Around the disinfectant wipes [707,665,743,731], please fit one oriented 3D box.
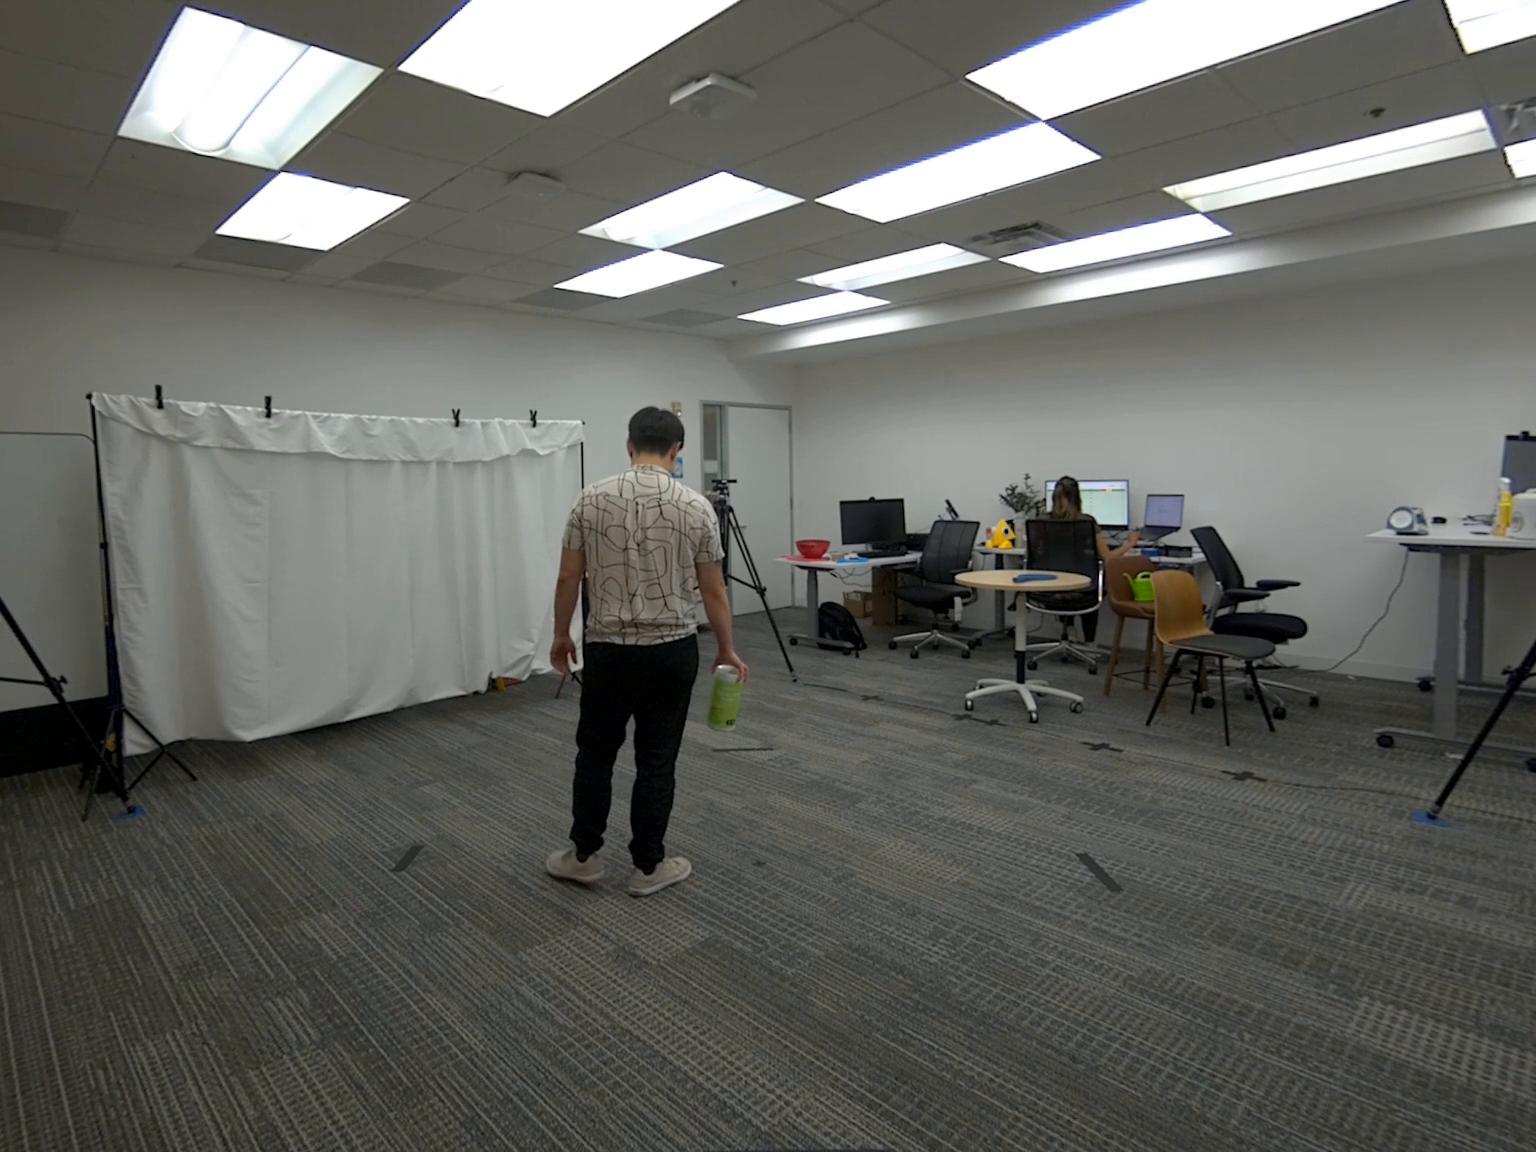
[{"bbox_3d":[-0.155,0.437,3.058,0.117,0.216,0.118,8,6,-3],"label":"disinfectant wipes"}]
